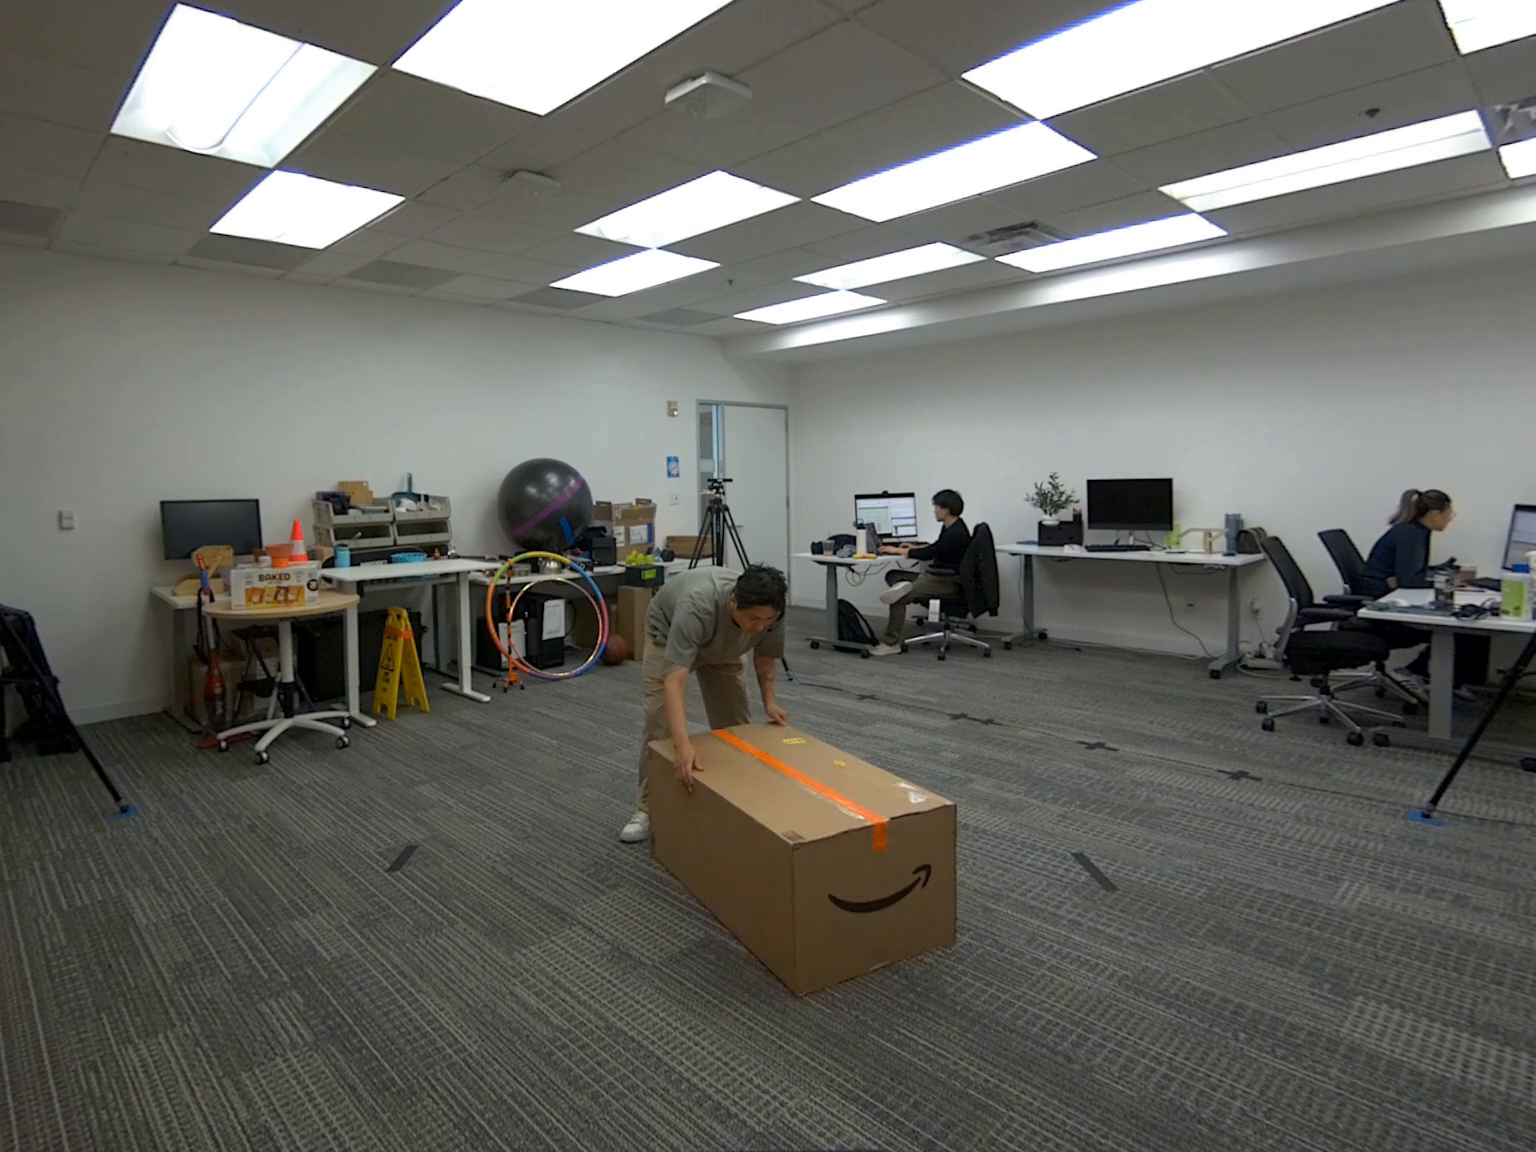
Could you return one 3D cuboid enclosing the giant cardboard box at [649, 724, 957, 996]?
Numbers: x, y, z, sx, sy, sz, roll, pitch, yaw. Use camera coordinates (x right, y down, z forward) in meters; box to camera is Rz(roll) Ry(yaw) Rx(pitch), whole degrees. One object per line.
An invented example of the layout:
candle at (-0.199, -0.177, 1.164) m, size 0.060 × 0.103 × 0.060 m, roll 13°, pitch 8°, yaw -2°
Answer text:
giant cardboard box at (0.061, 0.856, 2.867) m, size 0.564 × 0.424 × 1.054 m, roll -5°, pitch 7°, yaw -29°
